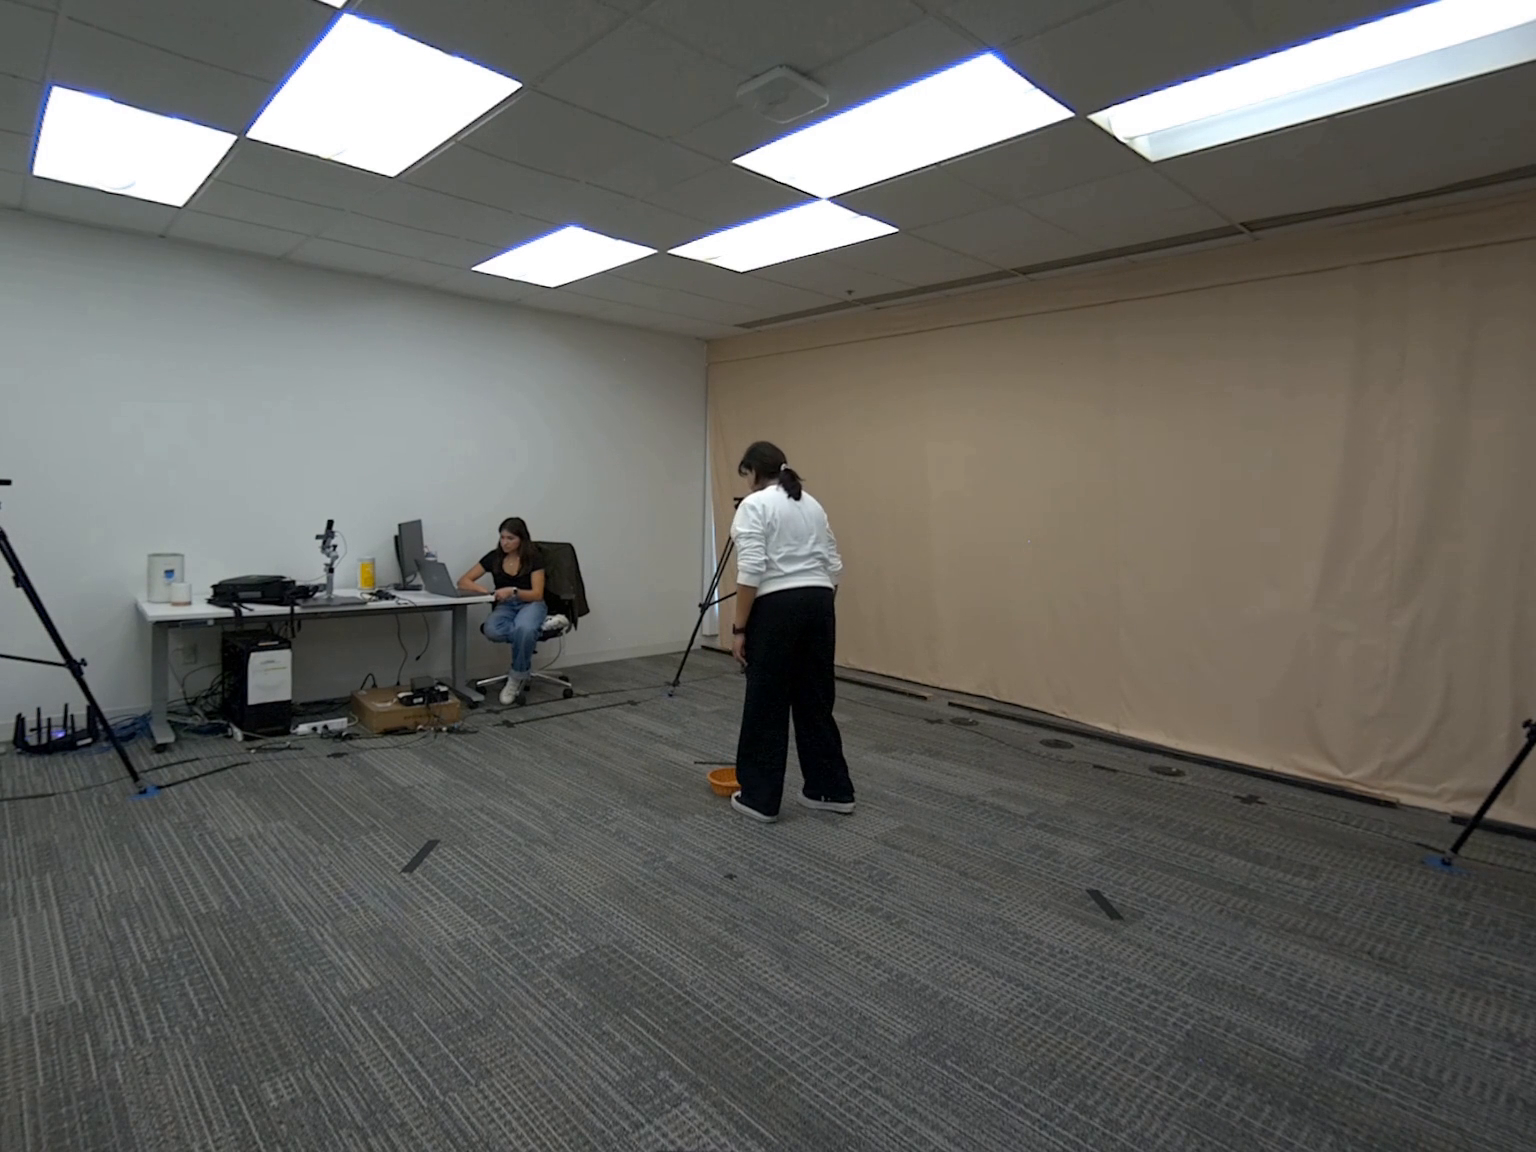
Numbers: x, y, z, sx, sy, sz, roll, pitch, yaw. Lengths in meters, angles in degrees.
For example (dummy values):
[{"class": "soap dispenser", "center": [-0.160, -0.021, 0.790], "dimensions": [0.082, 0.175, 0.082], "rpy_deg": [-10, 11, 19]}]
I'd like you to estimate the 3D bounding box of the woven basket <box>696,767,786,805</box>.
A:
[{"class": "woven basket", "center": [-0.134, 0.992, 4.050], "dimensions": [0.344, 0.073, 0.257], "rpy_deg": [-1, 7, -23]}]
